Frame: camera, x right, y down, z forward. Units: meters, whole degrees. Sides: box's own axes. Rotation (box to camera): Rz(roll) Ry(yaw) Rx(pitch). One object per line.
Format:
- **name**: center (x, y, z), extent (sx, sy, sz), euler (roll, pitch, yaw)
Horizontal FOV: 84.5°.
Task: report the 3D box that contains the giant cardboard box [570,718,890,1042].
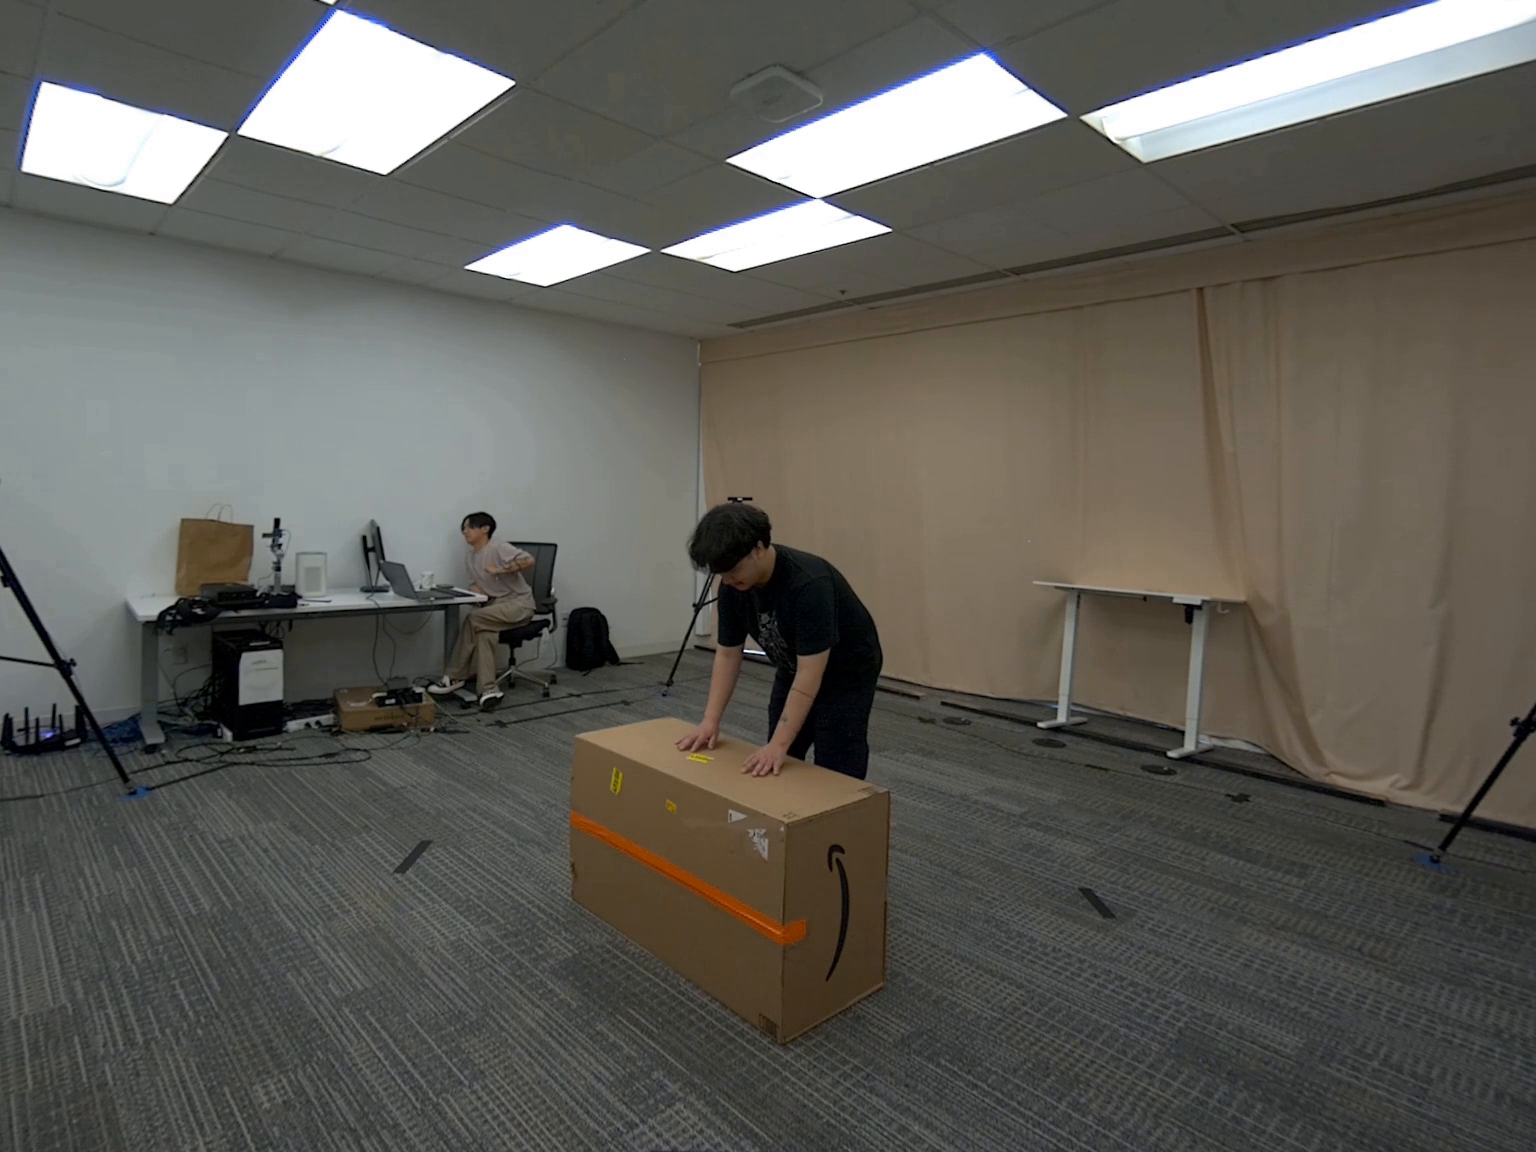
- **giant cardboard box**: center (-0.174, 0.866, 2.640), extent (0.437, 0.582, 1.053), euler (-3, 6, -43)
